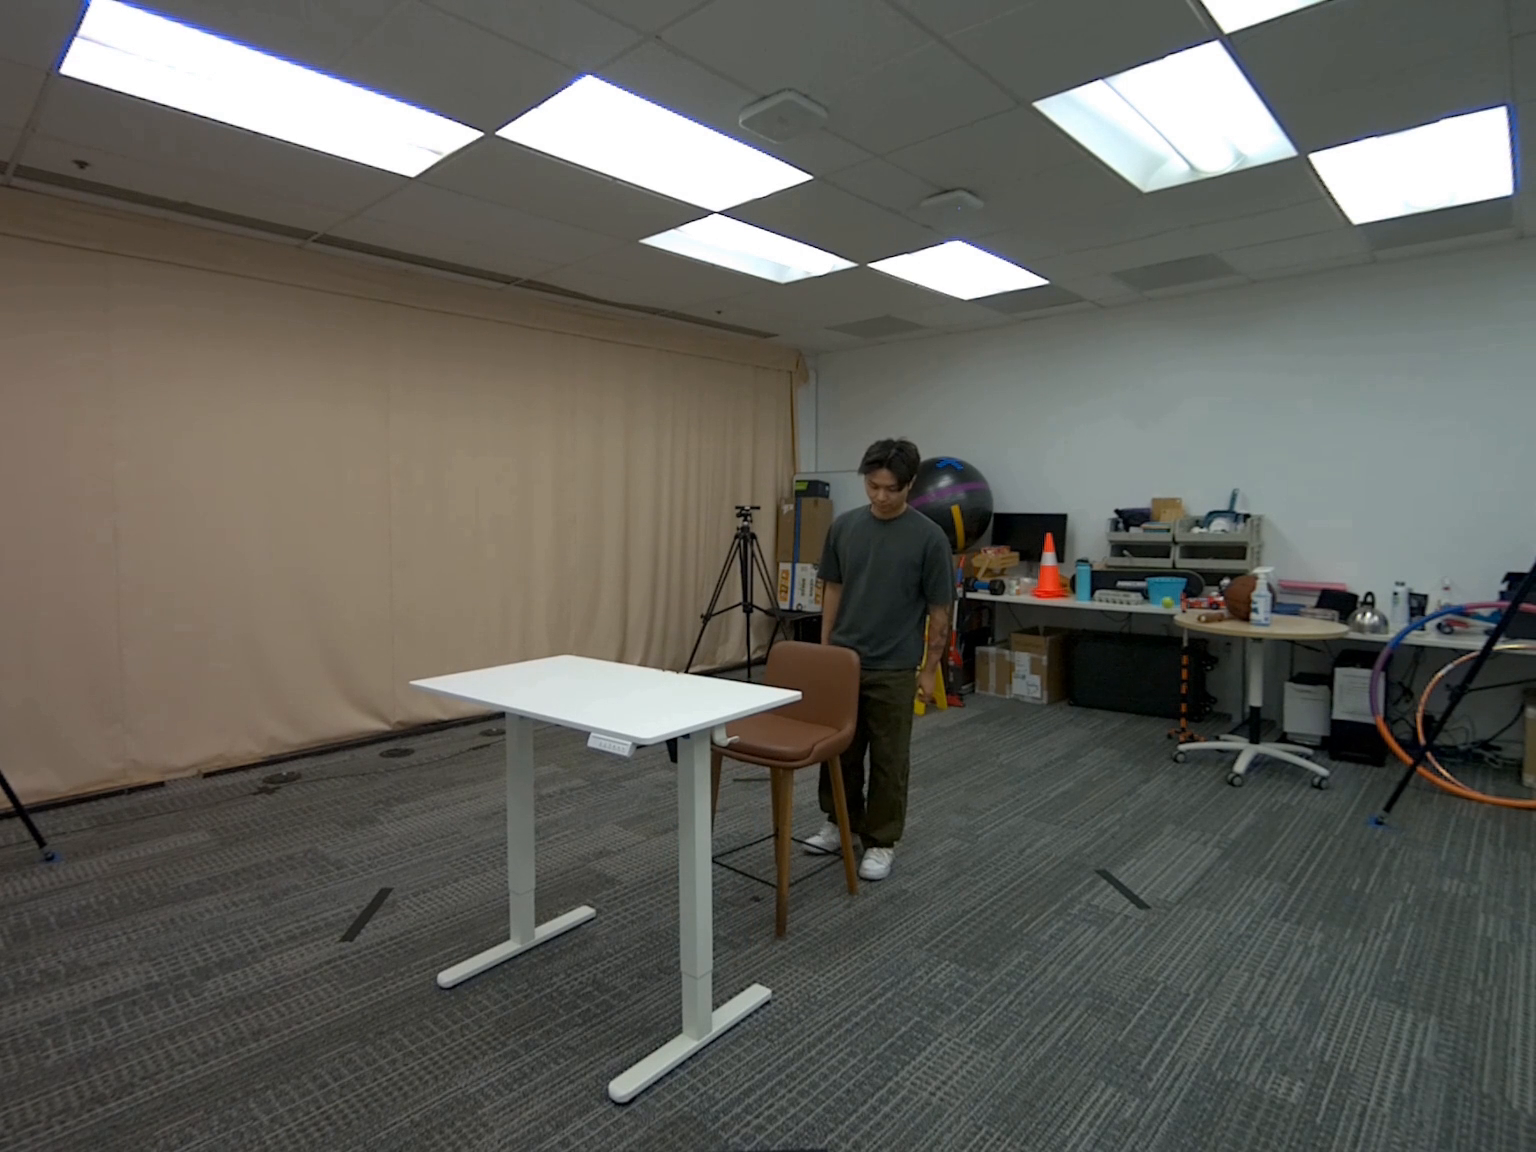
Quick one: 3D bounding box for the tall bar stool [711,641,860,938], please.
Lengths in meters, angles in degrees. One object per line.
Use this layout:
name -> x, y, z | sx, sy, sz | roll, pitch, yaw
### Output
tall bar stool -> 0.050, 0.706, 2.984 | 0.472, 0.889, 0.453 | 3, 3, 43
